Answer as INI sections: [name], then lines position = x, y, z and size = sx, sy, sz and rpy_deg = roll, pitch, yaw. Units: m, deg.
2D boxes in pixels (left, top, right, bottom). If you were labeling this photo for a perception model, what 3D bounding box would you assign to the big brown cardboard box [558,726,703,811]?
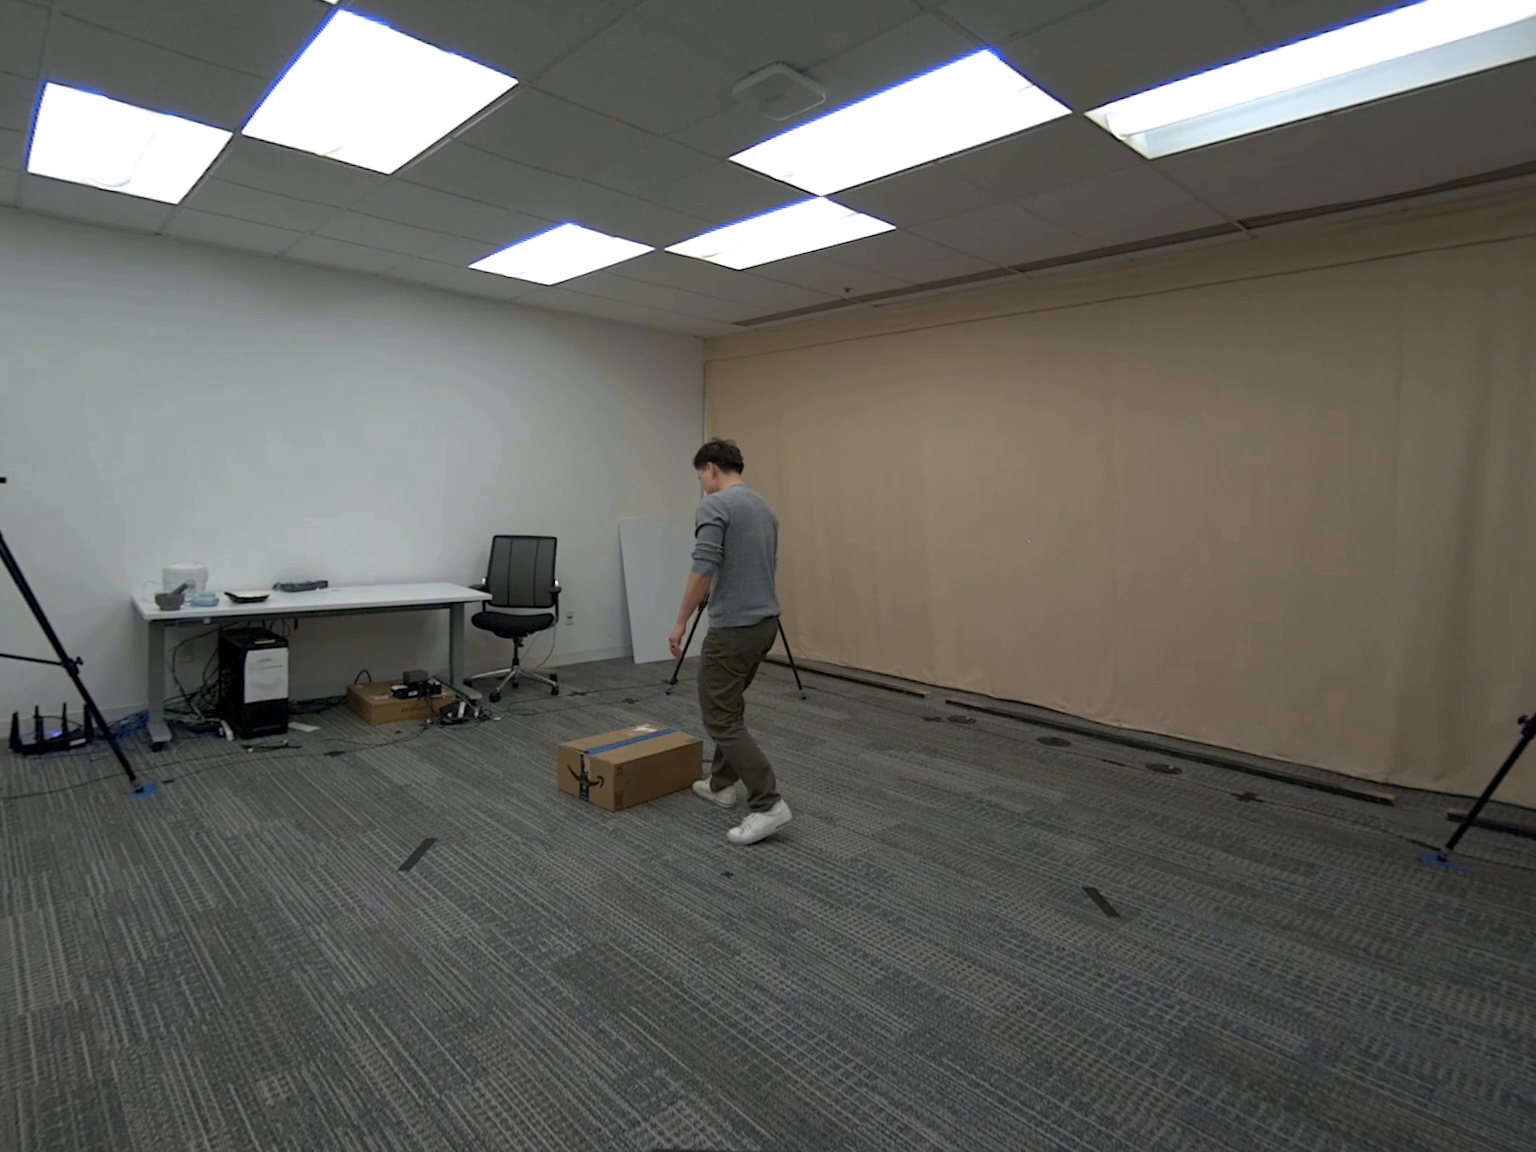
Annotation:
[big brown cardboard box]
position = -0.659, 0.897, 4.030
size = 0.428, 0.232, 0.576
rpy_deg = 5, 7, 40
